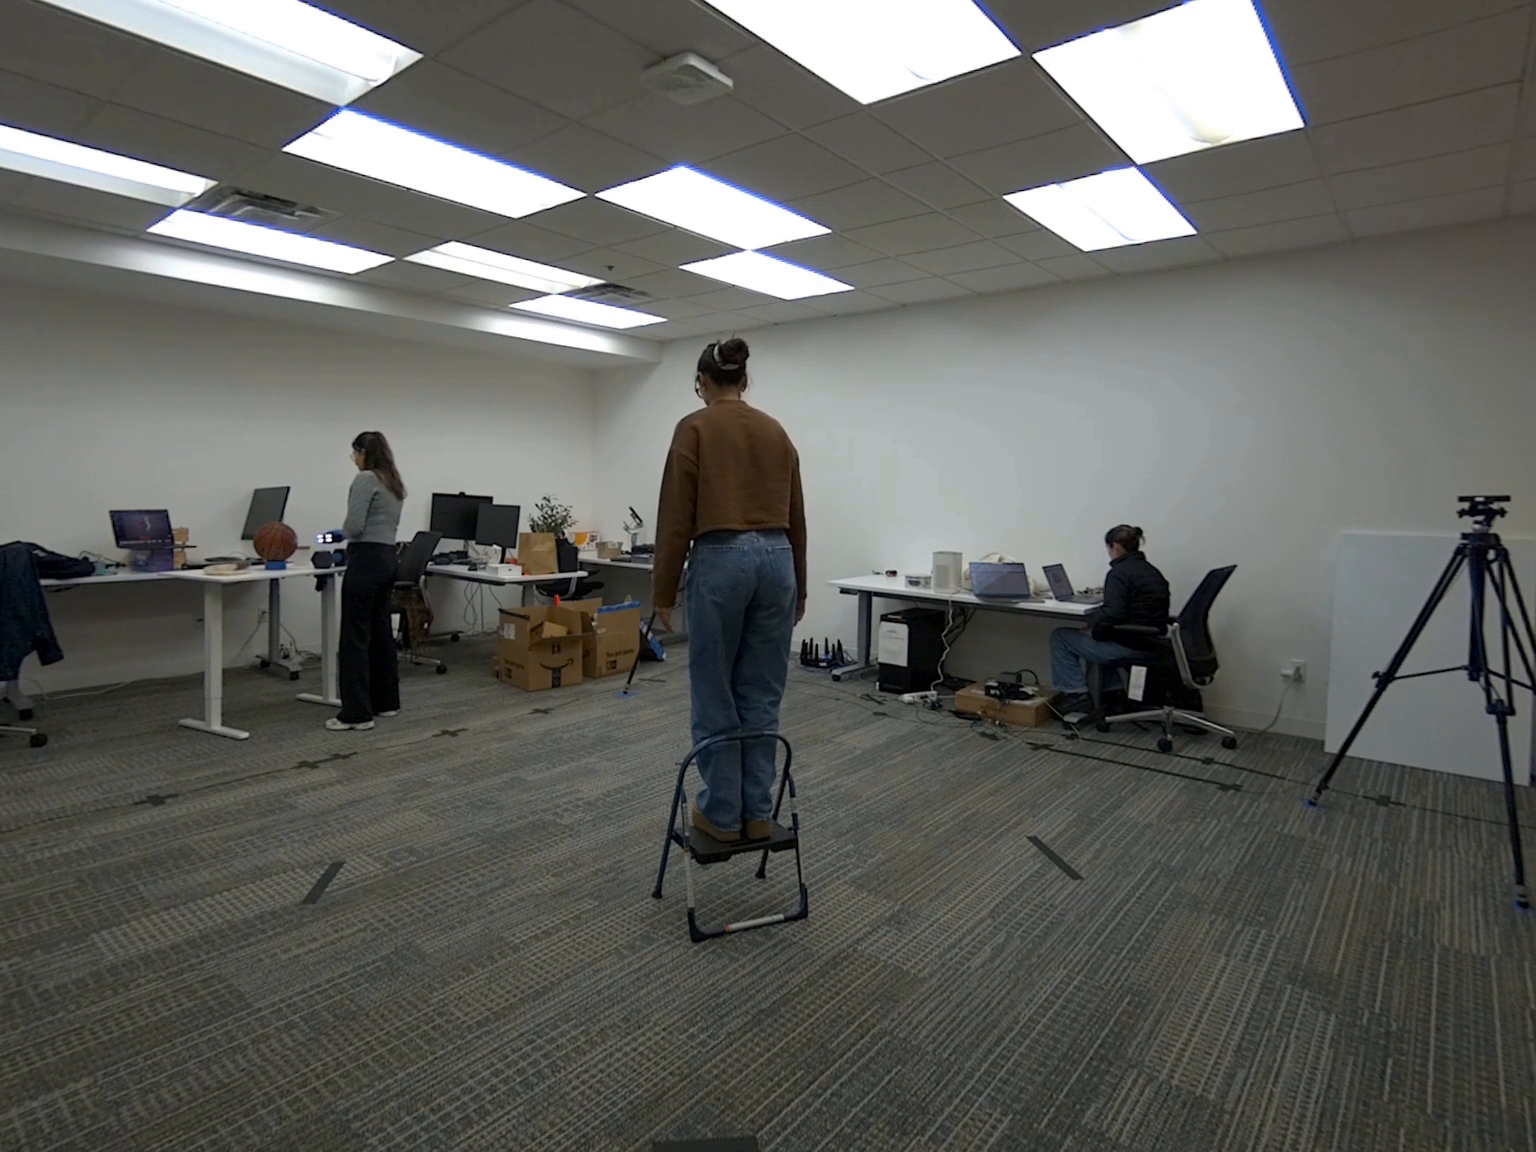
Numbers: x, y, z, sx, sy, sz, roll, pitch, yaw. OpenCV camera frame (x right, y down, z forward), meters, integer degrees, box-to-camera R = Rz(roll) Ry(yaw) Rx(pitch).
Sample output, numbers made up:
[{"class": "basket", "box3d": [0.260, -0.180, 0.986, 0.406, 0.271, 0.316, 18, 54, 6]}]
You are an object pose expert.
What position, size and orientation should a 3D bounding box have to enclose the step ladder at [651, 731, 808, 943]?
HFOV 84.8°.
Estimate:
[{"class": "step ladder", "box3d": [-0.130, 0.798, 2.811, 0.420, 0.604, 0.359, -1, 4, -27]}]
